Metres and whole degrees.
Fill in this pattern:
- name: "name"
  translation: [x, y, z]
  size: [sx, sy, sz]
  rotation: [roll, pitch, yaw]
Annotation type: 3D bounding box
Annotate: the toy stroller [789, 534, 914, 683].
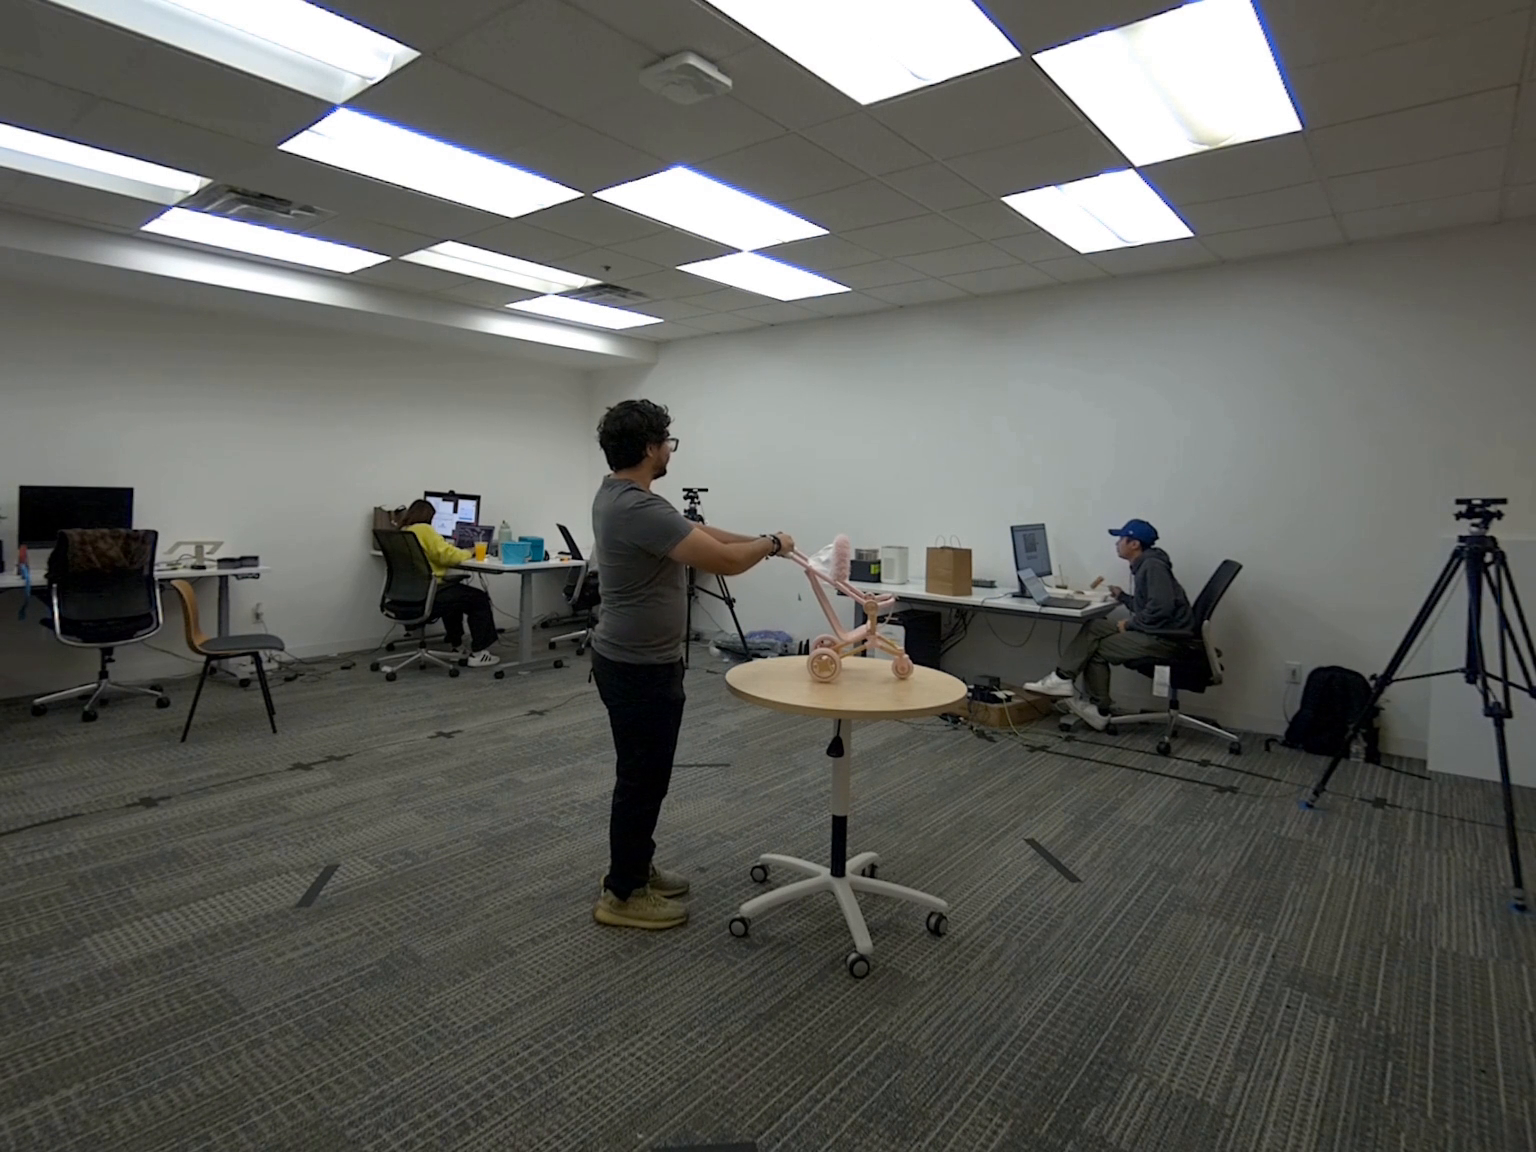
- name: "toy stroller"
  translation: [0.254, 0.106, 2.786]
  size: [0.345, 0.535, 0.278]
  rotation: [-13, 0, 13]
